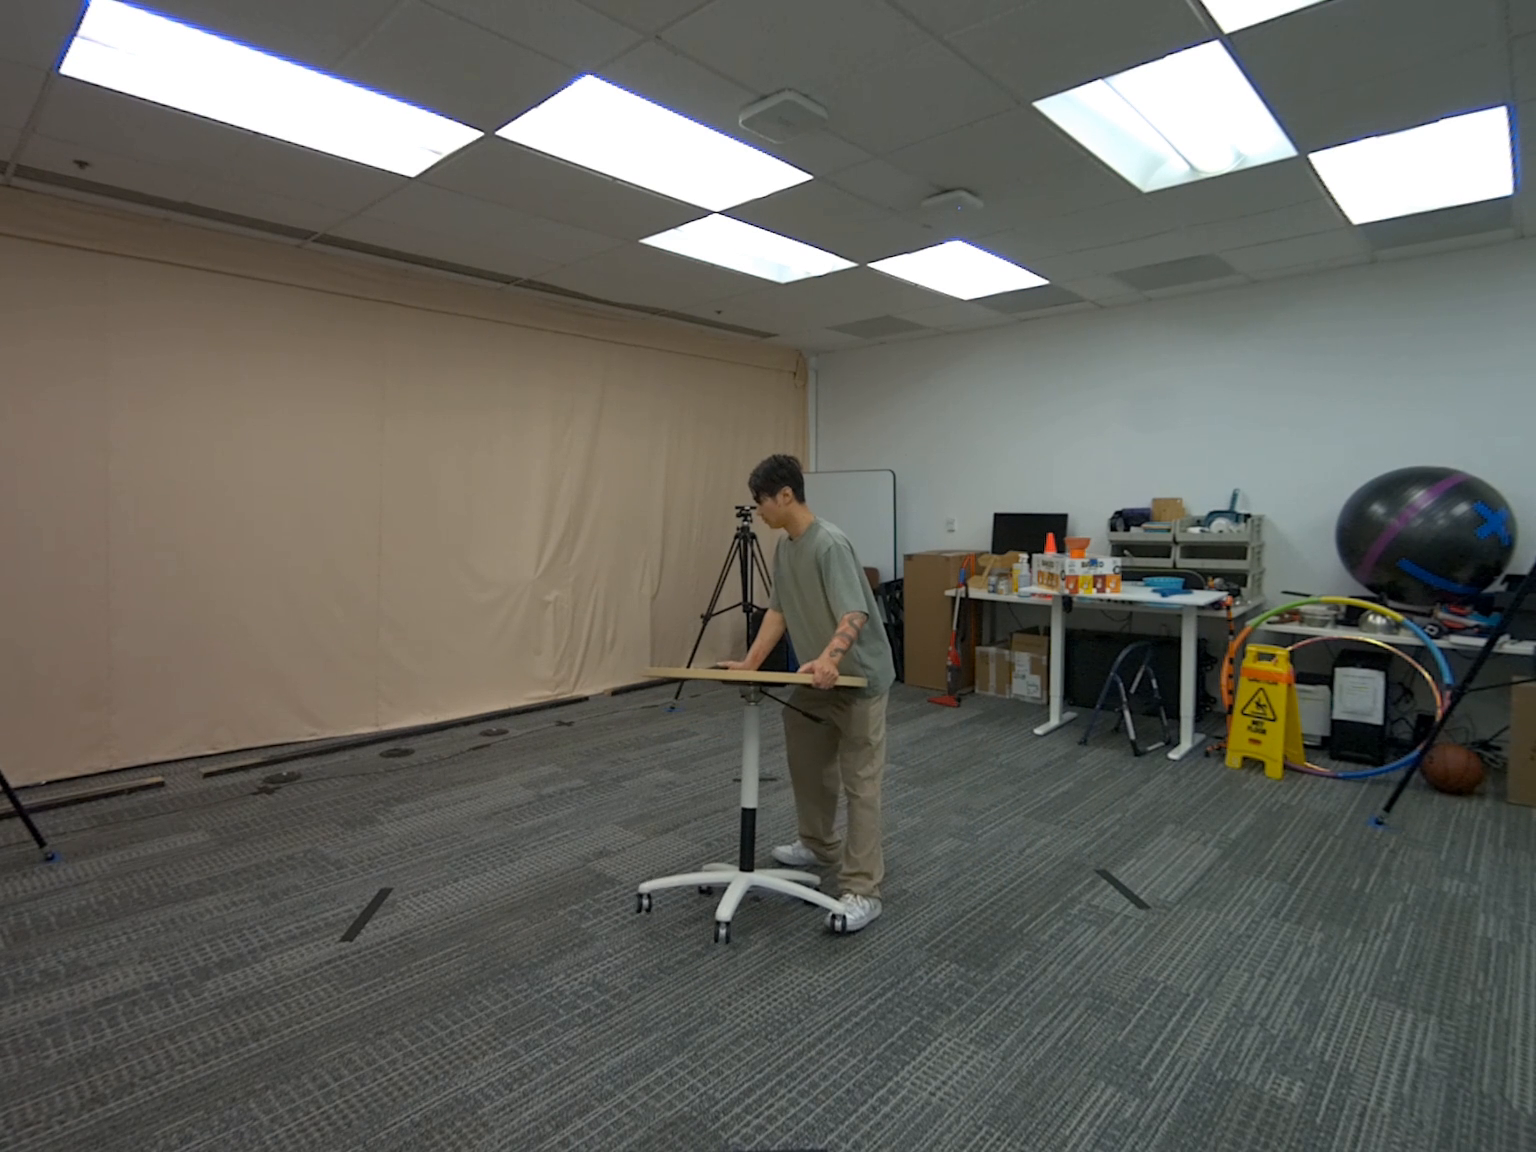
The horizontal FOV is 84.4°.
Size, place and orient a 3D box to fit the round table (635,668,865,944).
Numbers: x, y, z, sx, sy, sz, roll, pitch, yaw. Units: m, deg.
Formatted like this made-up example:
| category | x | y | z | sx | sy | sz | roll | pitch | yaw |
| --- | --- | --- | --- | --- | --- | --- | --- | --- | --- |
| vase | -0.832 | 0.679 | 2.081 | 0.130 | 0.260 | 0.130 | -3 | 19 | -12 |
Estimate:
| category | x | y | z | sx | sy | sz | roll | pitch | yaw |
| --- | --- | --- | --- | --- | --- | --- | --- | --- | --- |
| round table | -0.072 | 0.720 | 2.791 | 0.785 | 0.790 | 0.781 | 3 | -9 | -1 |
